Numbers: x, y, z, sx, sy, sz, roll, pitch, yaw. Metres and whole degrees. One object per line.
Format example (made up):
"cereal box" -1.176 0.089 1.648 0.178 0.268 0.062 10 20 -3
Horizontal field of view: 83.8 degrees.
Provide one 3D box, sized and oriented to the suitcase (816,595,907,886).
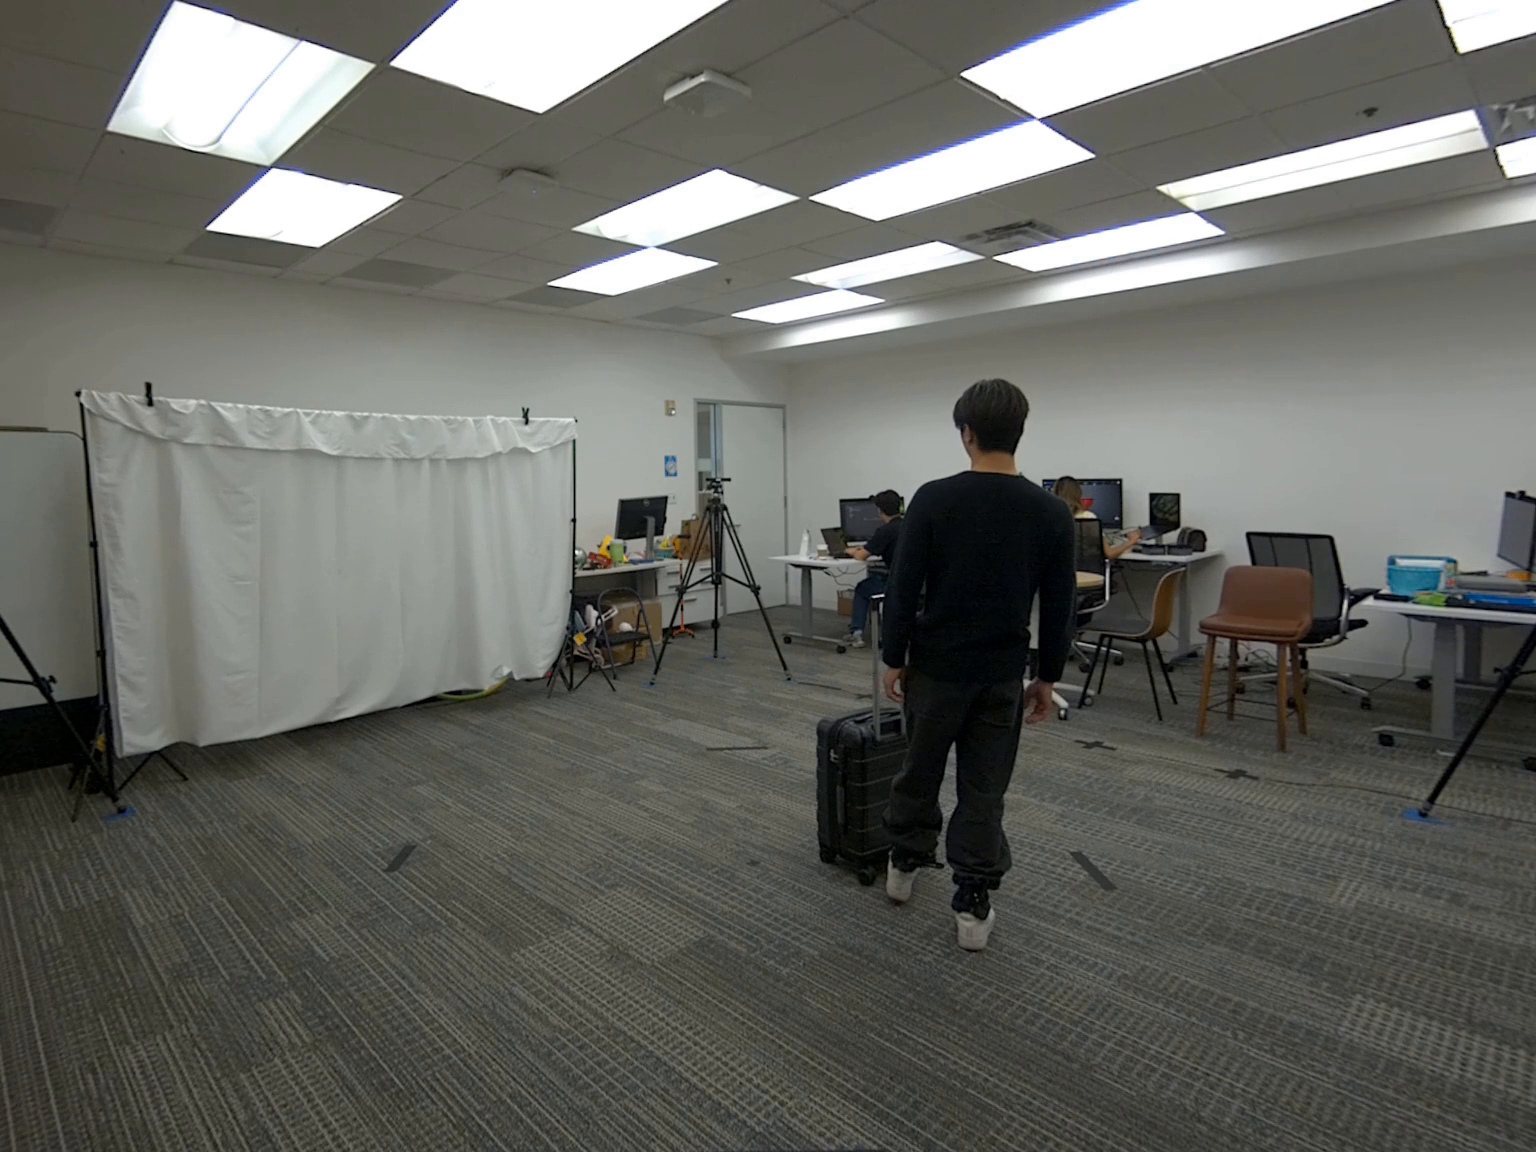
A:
"suitcase" 0.364 0.560 3.092 0.374 0.977 0.264 -4 2 -34
